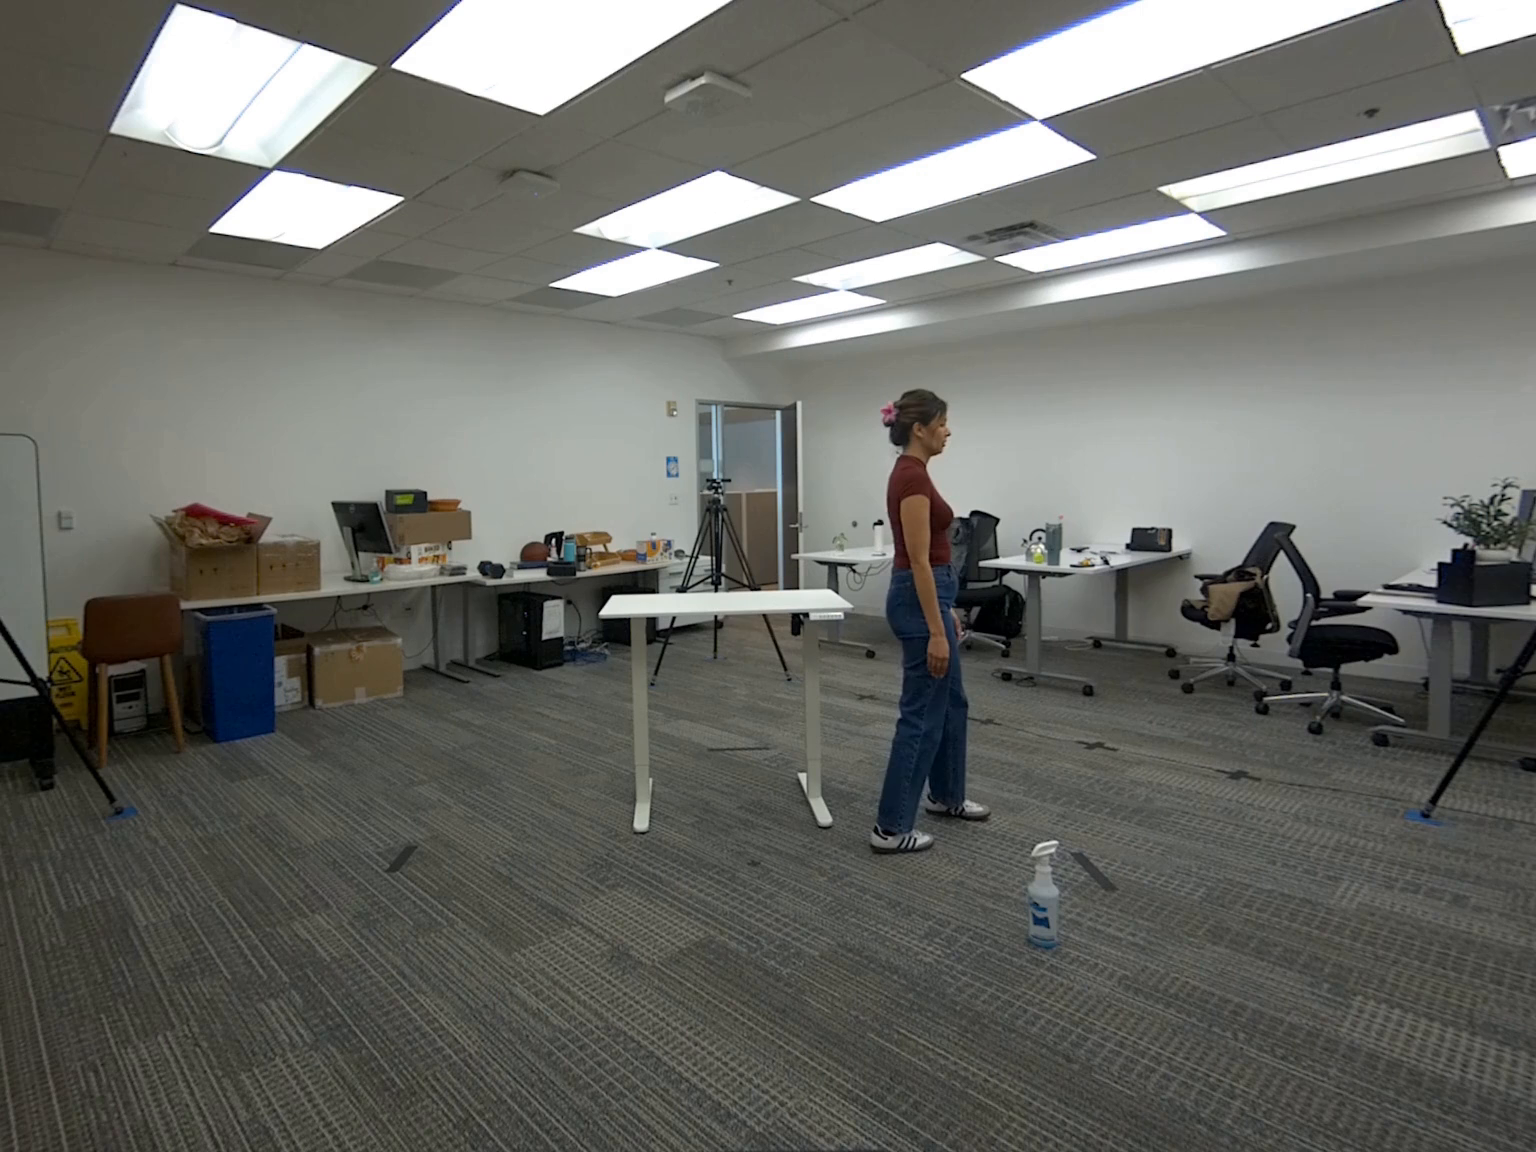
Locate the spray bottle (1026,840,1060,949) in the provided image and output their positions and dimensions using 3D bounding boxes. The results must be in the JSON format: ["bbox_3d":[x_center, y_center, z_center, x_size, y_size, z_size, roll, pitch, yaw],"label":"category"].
[{"bbox_3d":[0.832,0.954,2.550,0.090,0.296,0.087,-2,4,4],"label":"spray bottle"}]
